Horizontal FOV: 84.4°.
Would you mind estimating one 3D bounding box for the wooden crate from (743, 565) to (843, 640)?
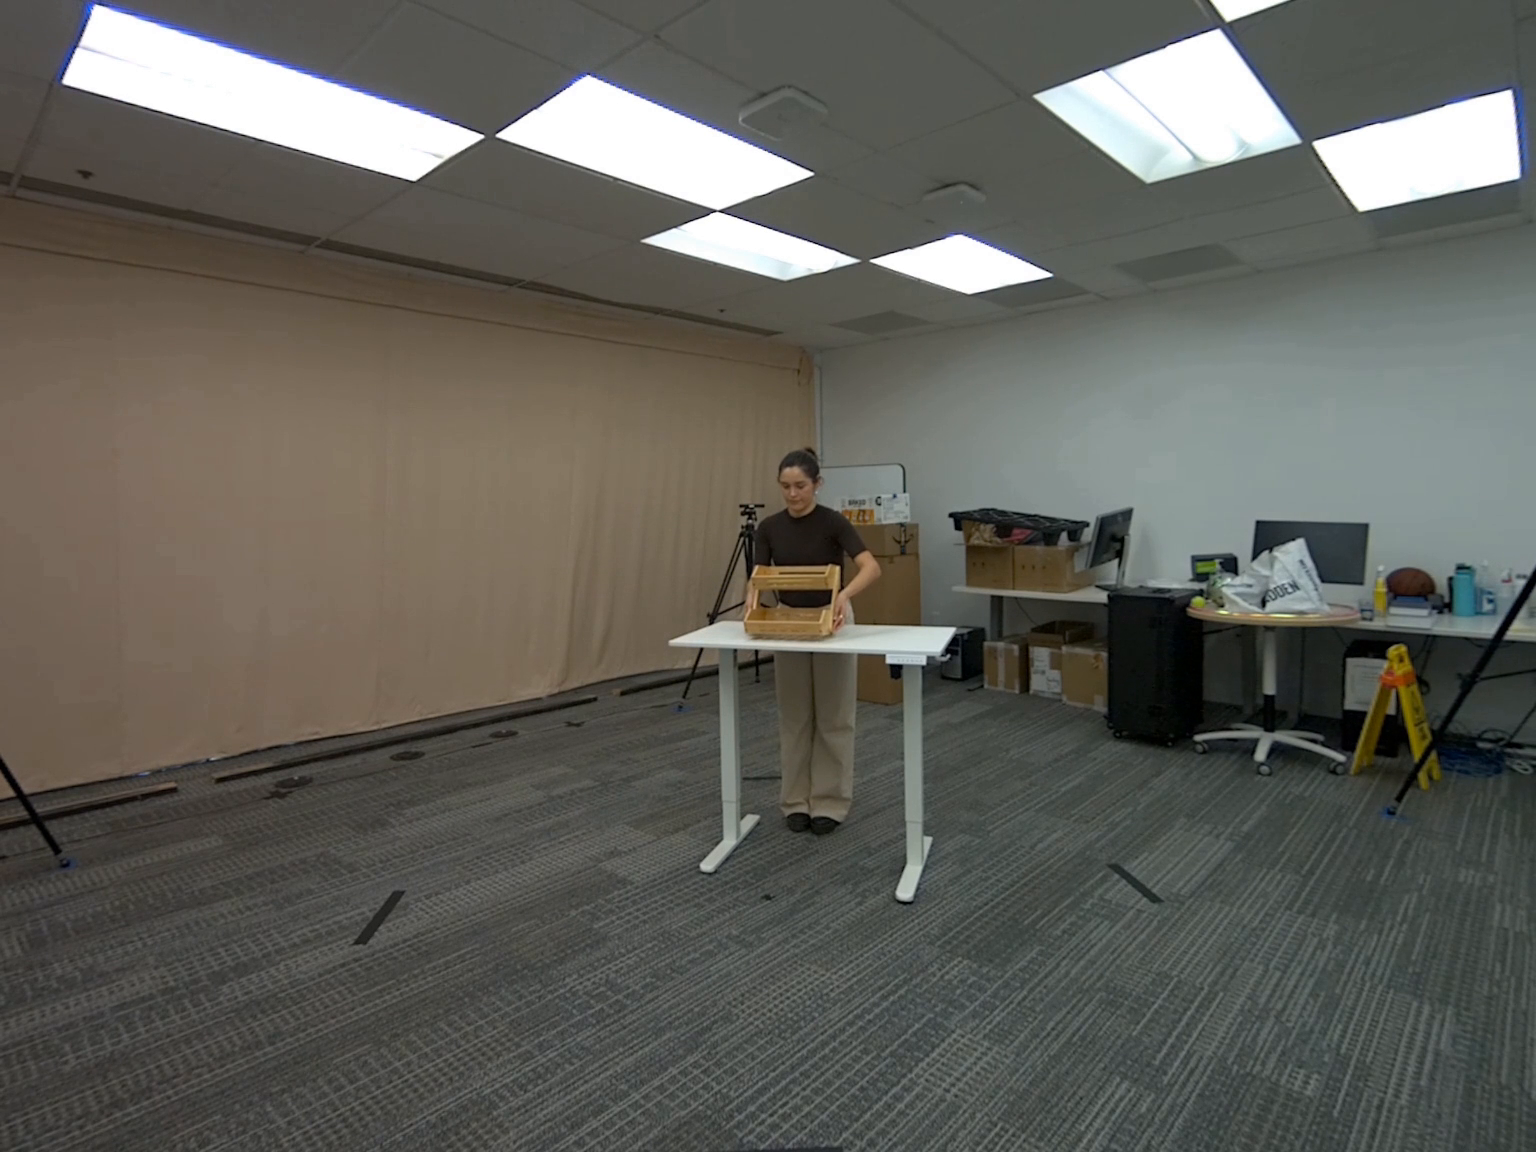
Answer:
[{"bbox_3d":[0.098,0.087,3.255,0.331,0.274,0.295,-1,-2,20],"label":"wooden crate"}]
